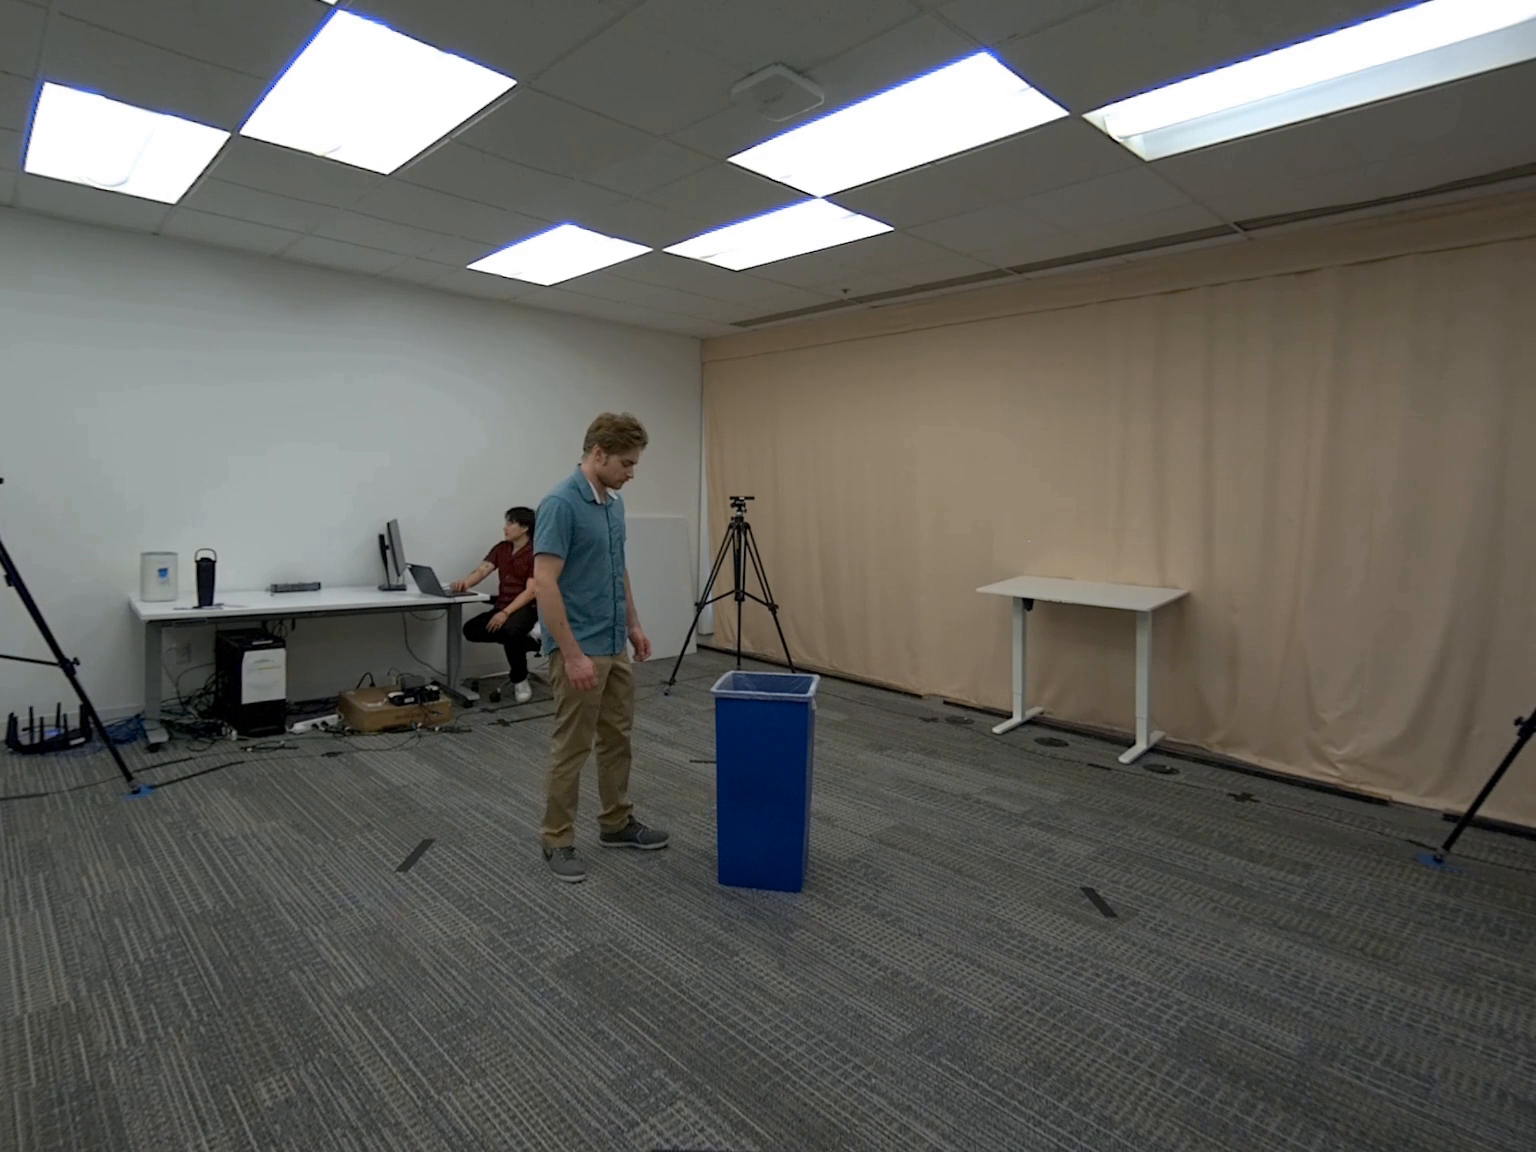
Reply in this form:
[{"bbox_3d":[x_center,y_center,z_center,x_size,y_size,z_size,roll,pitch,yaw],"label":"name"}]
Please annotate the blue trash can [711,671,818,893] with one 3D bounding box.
[{"bbox_3d":[-0.023,0.747,3.127,0.377,0.712,0.376,2,3,9],"label":"blue trash can"}]
